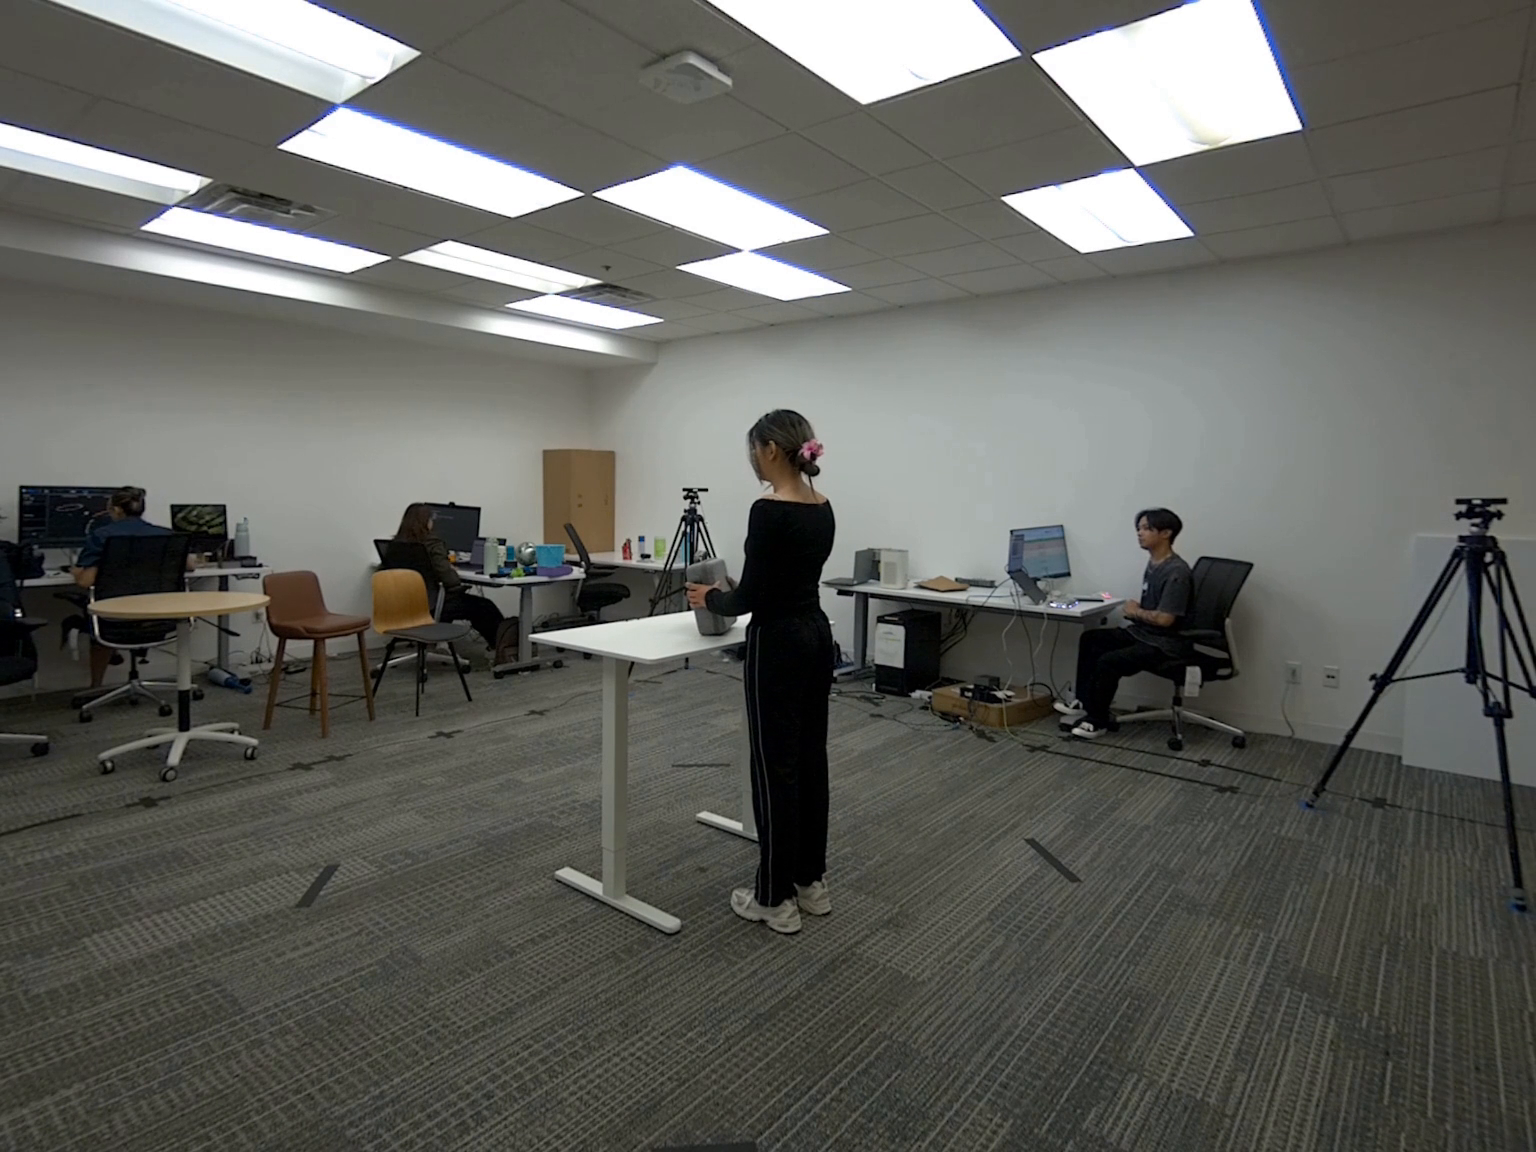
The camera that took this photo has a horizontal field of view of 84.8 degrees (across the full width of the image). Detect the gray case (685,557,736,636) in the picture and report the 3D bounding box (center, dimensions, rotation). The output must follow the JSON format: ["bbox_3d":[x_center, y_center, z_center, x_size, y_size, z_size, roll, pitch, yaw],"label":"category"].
[{"bbox_3d":[-0.209,0.061,3.033,0.105,0.260,0.255,-9,2,7],"label":"gray case"}]
